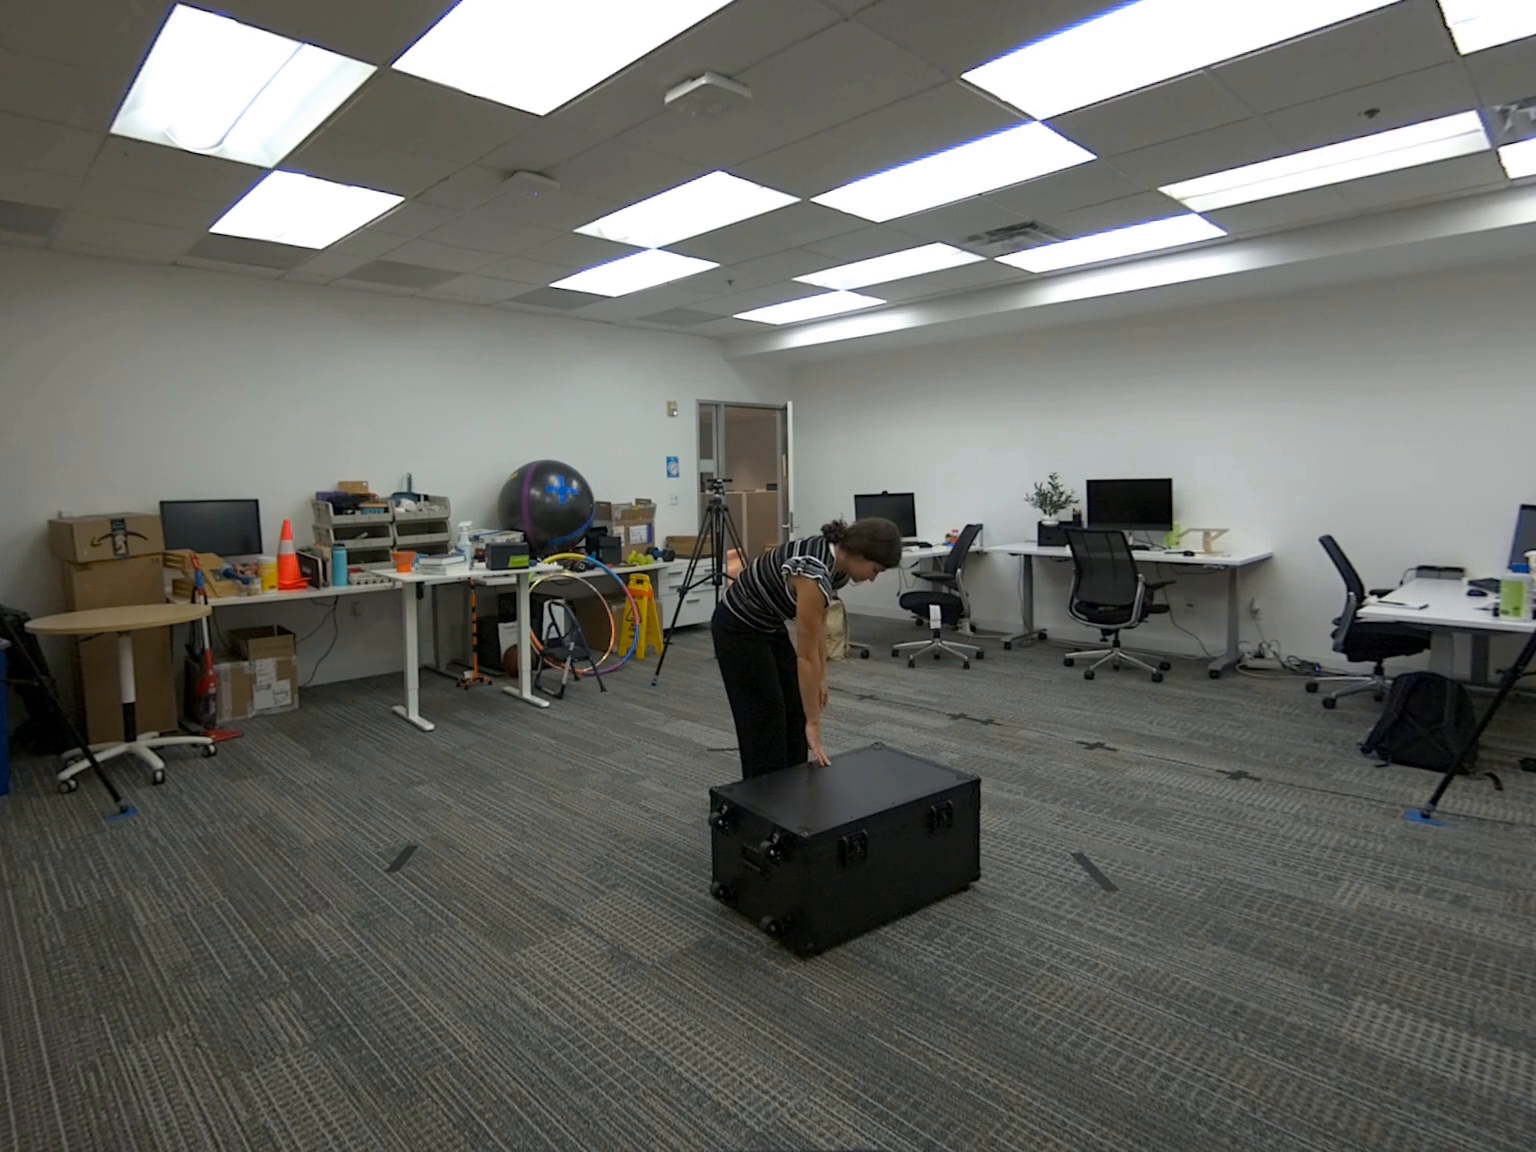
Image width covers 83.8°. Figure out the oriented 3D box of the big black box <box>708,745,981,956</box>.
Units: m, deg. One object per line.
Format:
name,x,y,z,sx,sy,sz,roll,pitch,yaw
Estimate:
big black box,0.239,0.880,2.846,0.839,0.395,0.537,-5,6,-36
